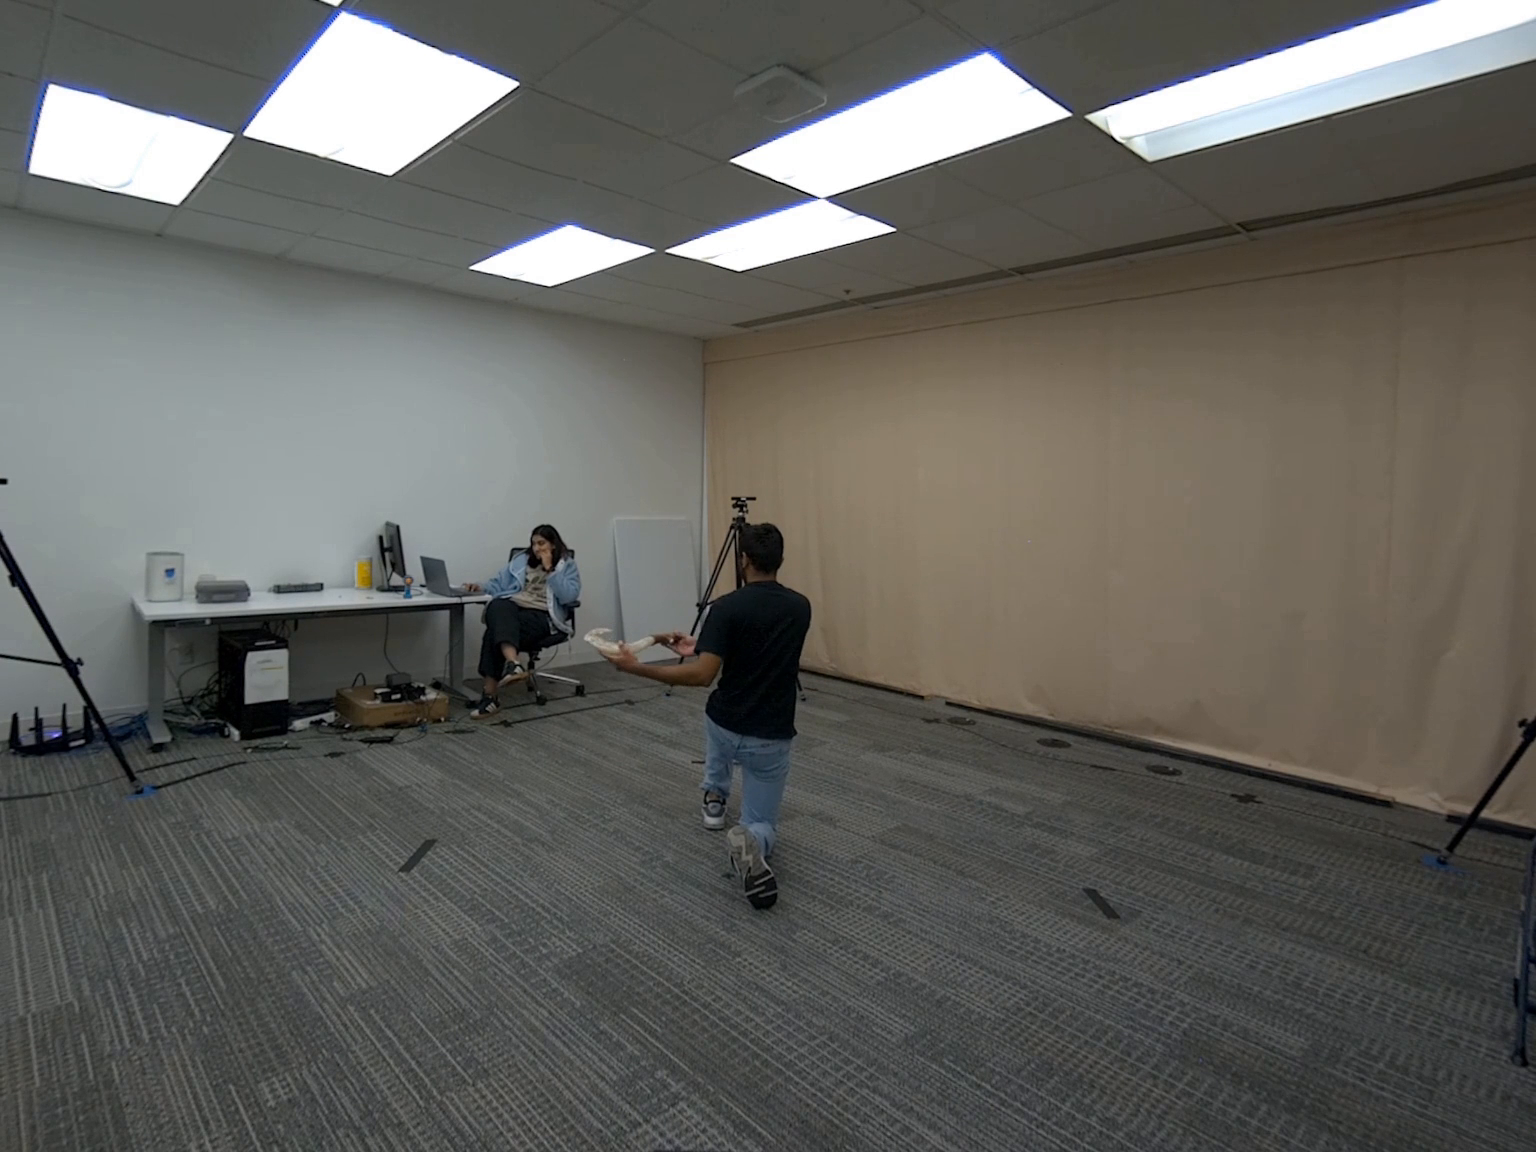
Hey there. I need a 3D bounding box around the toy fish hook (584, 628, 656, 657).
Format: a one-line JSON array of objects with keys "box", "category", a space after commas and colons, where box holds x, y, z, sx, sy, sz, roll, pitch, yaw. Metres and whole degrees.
[{"box": [-0.538, 0.250, 3.479, 0.230, 0.048, 0.497, 27, 16, 26], "category": "toy fish hook"}]
